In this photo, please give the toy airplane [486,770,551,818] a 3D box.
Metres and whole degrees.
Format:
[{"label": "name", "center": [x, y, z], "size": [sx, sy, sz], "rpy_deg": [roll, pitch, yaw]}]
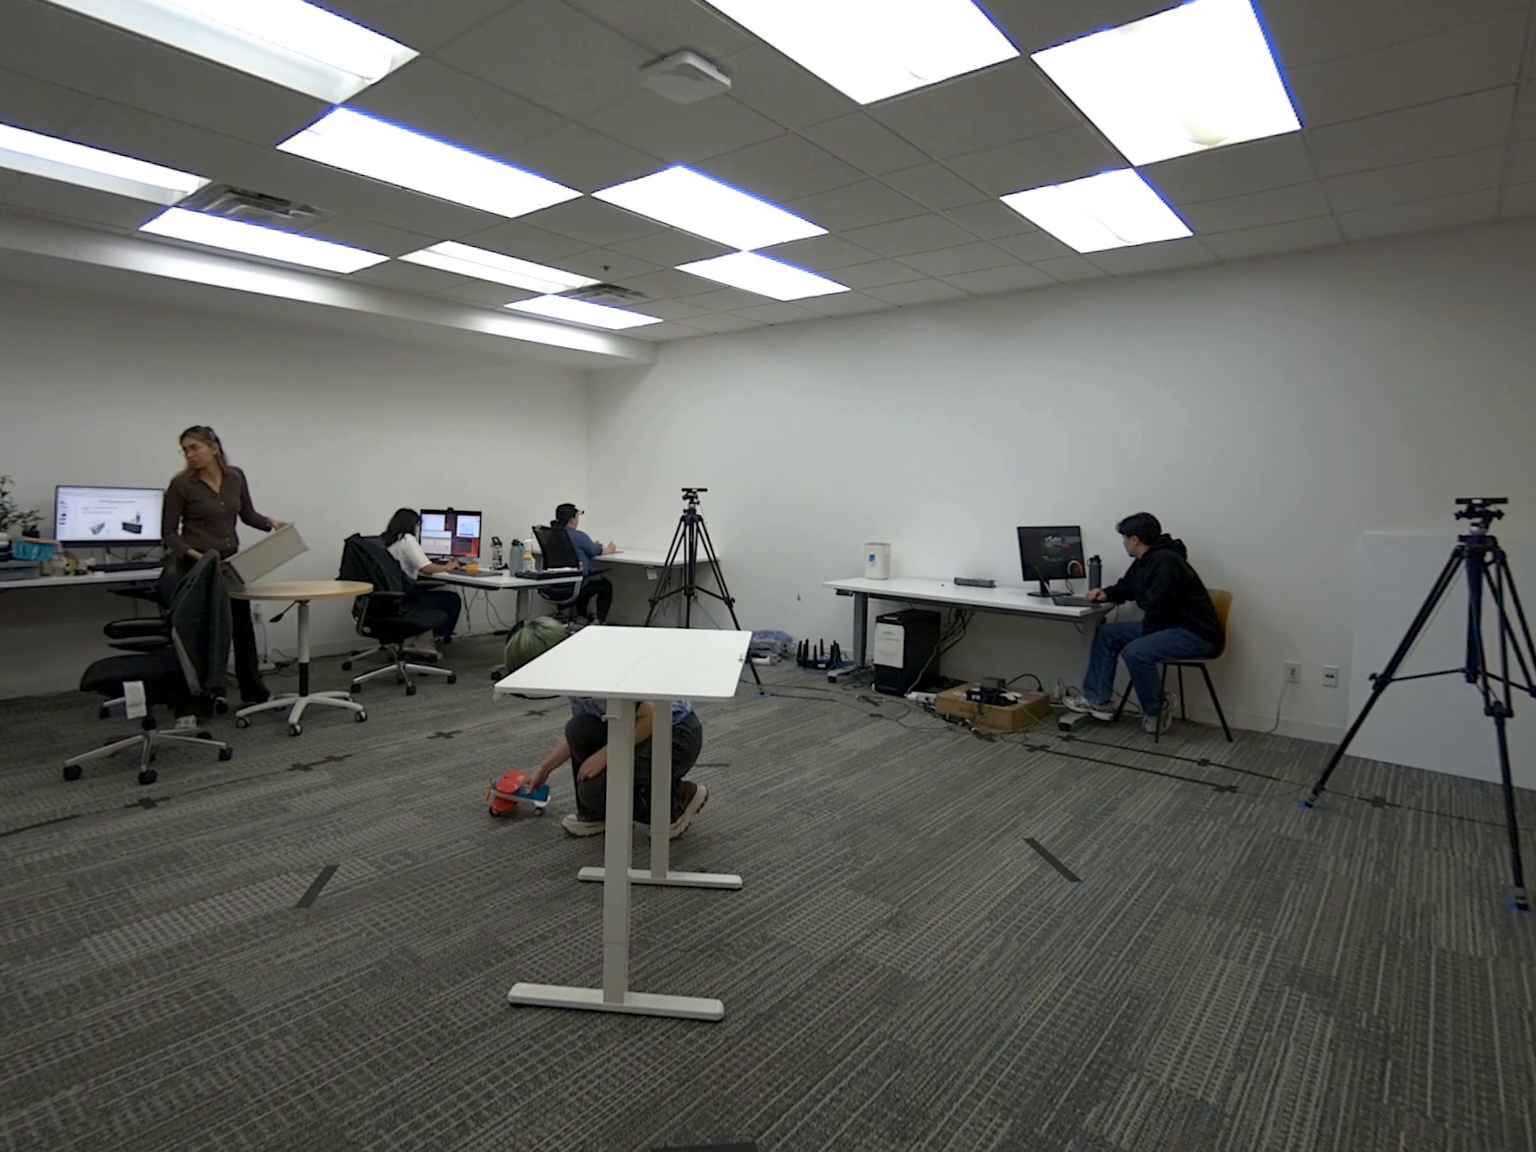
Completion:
[{"label": "toy airplane", "center": [-1.079, 0.933, 3.639], "size": [0.253, 0.156, 0.258], "rpy_deg": [-2, 5, -26]}]
